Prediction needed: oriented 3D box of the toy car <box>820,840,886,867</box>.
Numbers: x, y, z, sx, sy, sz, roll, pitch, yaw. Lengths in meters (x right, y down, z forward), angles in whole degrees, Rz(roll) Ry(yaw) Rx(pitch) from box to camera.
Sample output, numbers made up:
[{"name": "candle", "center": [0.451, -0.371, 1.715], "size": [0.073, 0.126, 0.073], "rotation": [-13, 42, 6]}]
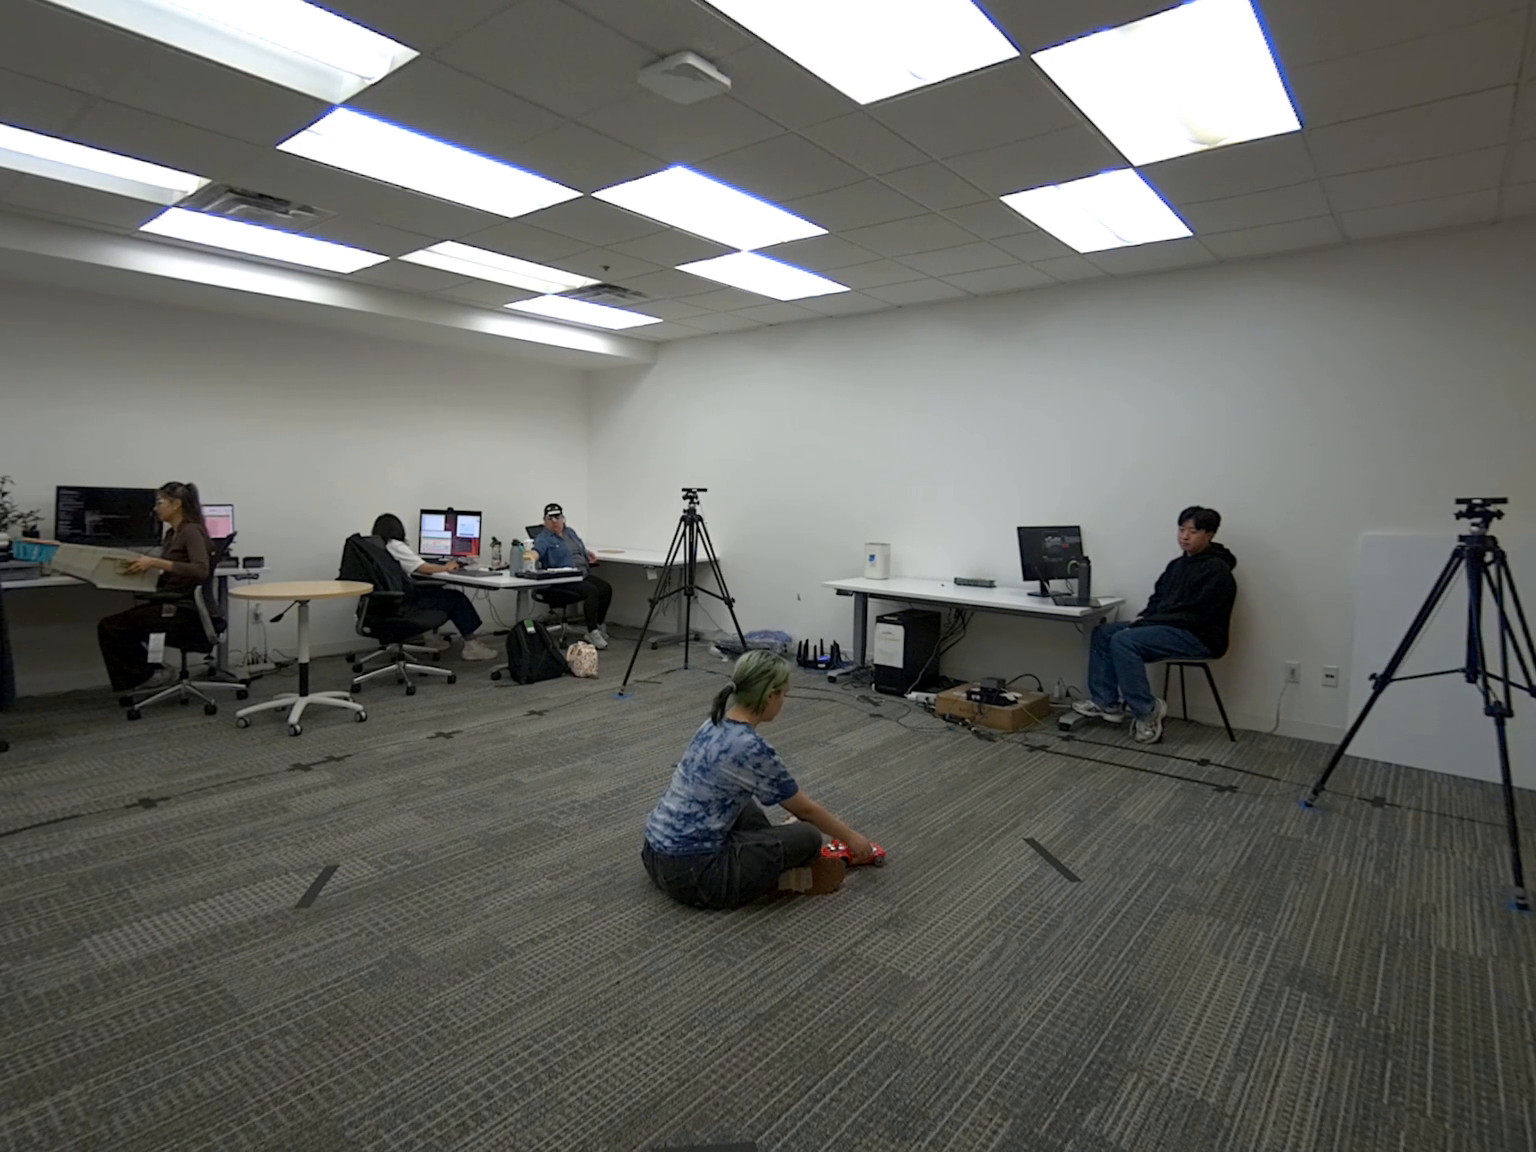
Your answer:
[{"name": "toy car", "center": [0.304, 1.045, 3.180], "size": [0.250, 0.083, 0.133], "rotation": [11, 3, -16]}]
